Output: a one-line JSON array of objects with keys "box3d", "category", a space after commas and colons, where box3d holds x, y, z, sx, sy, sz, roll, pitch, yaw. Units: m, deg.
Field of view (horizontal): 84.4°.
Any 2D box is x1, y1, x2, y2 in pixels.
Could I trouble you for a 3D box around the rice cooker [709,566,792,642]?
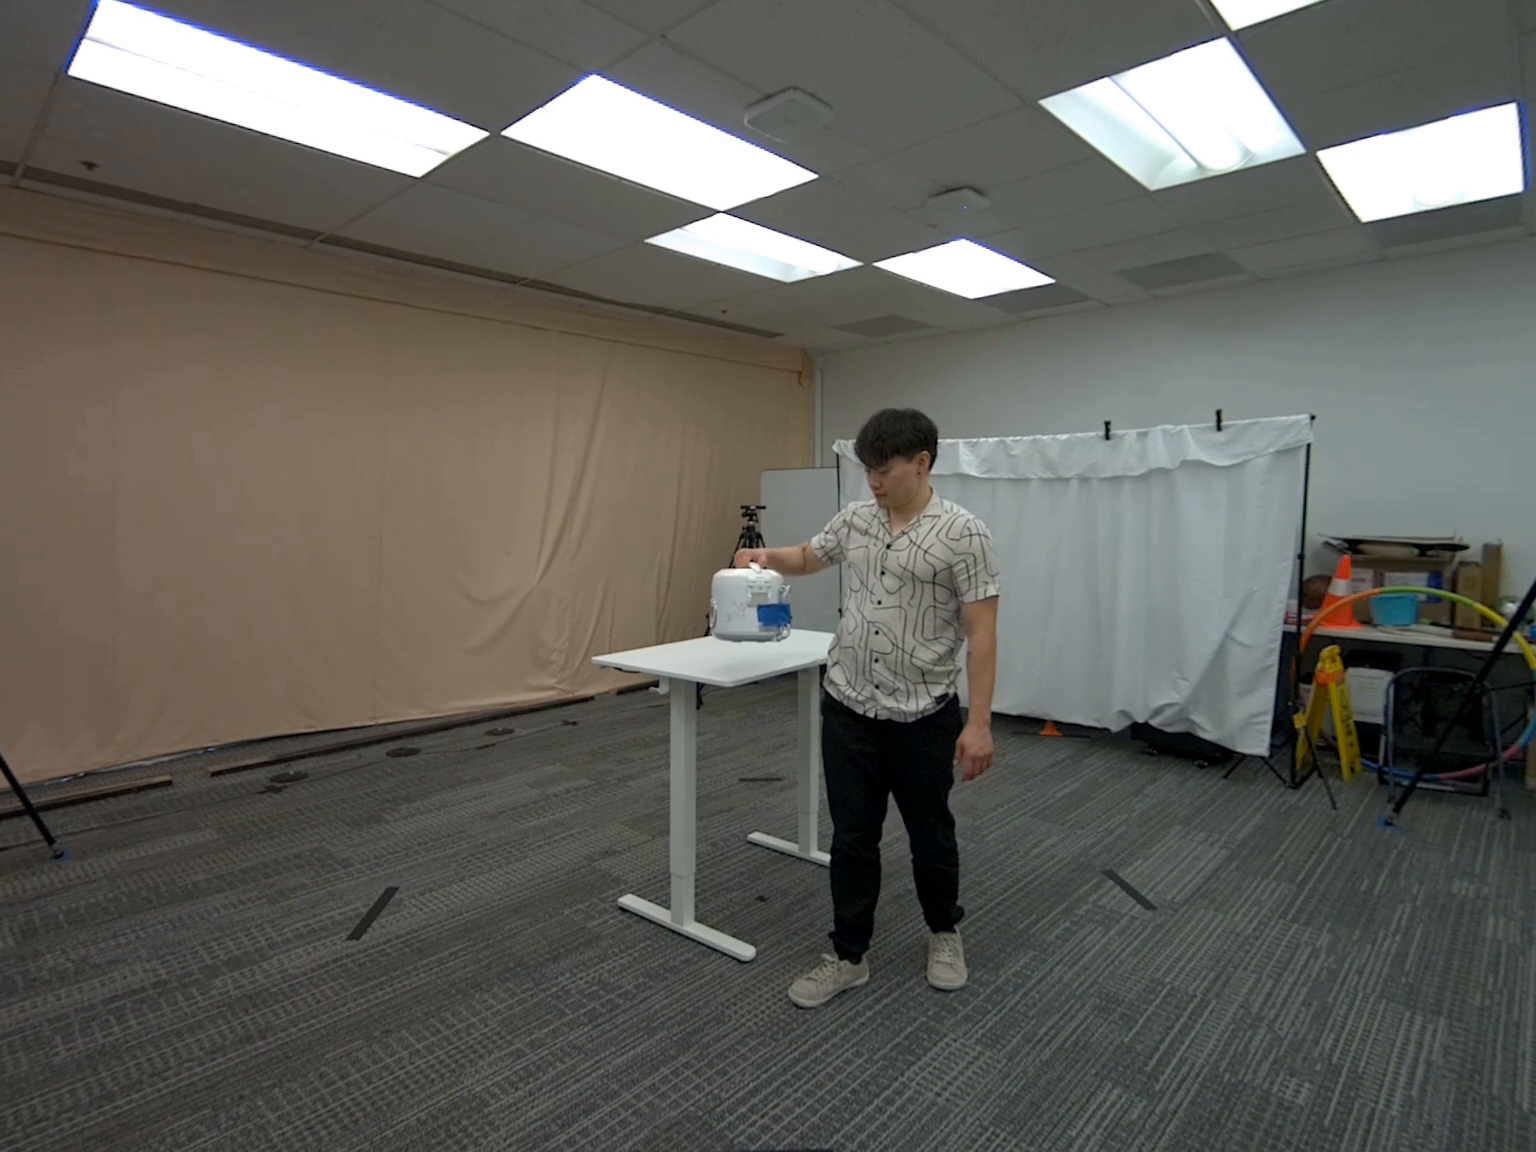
[{"box3d": [-0.055, 0.074, 2.450, 0.213, 0.233, 0.224, 1, -4, -17], "category": "rice cooker"}]
